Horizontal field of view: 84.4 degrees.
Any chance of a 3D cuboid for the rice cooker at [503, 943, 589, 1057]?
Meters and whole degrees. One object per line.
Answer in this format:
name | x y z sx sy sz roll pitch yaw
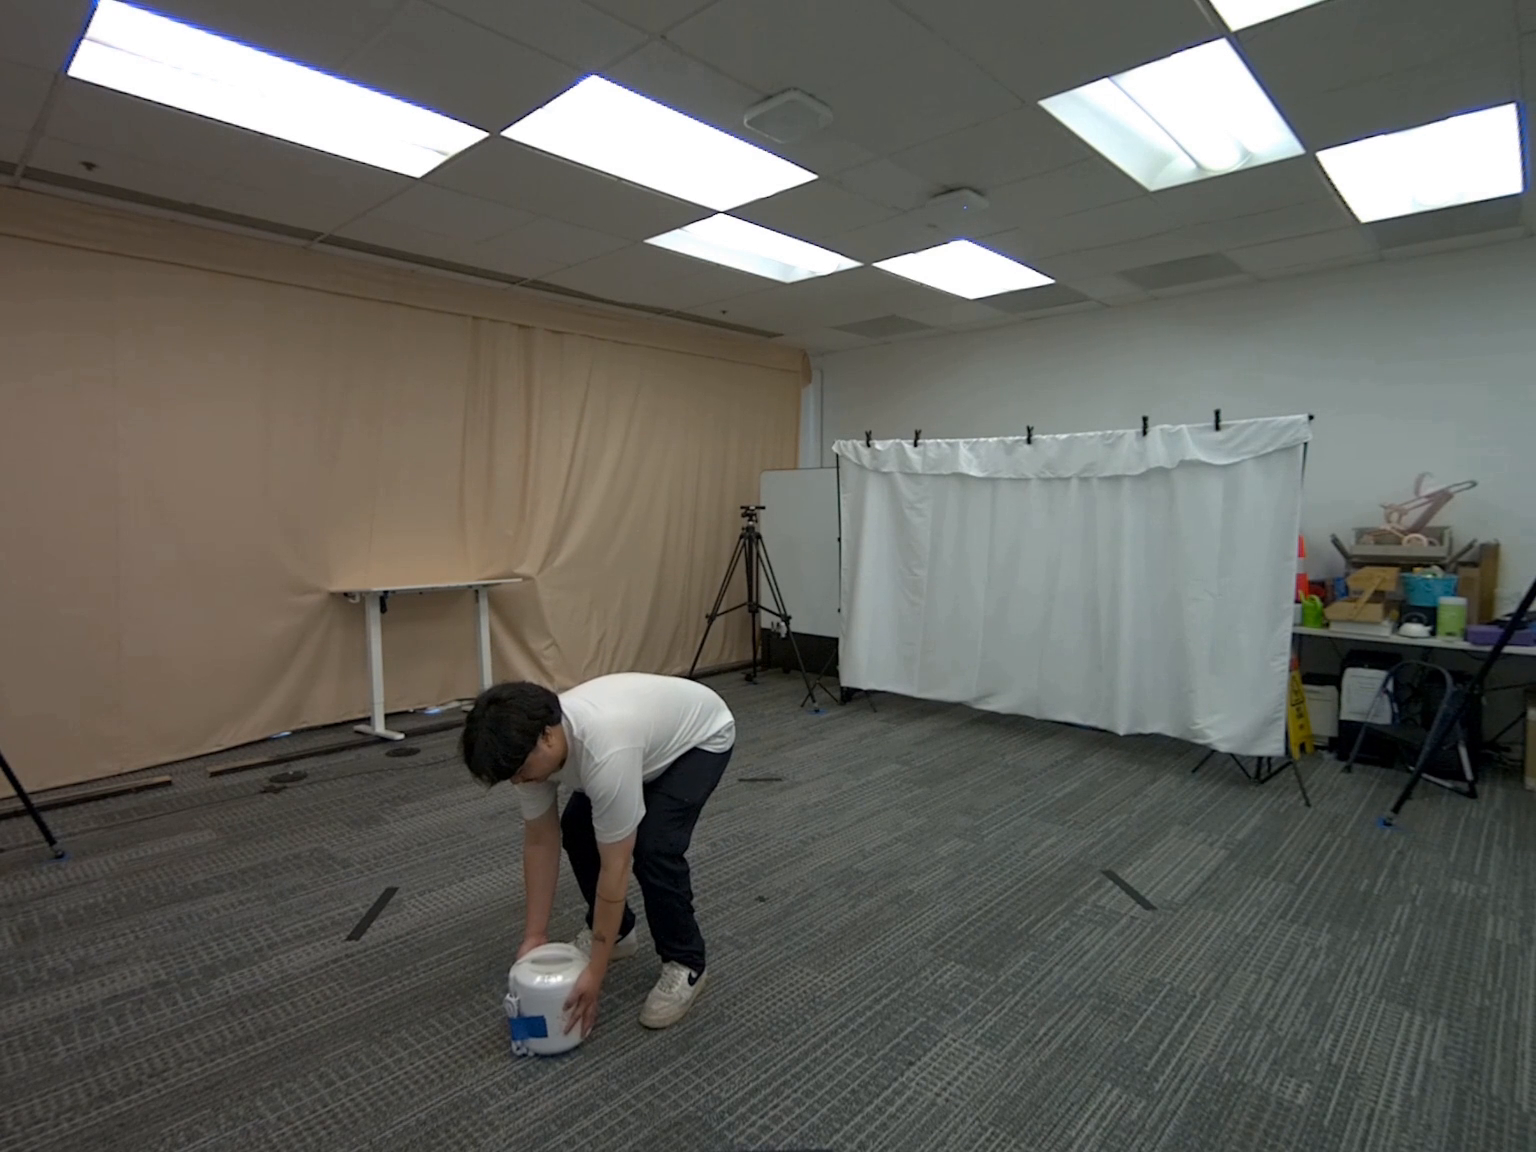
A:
rice cooker | -0.571 1.089 2.212 0.220 0.232 0.218 0 4 -2
